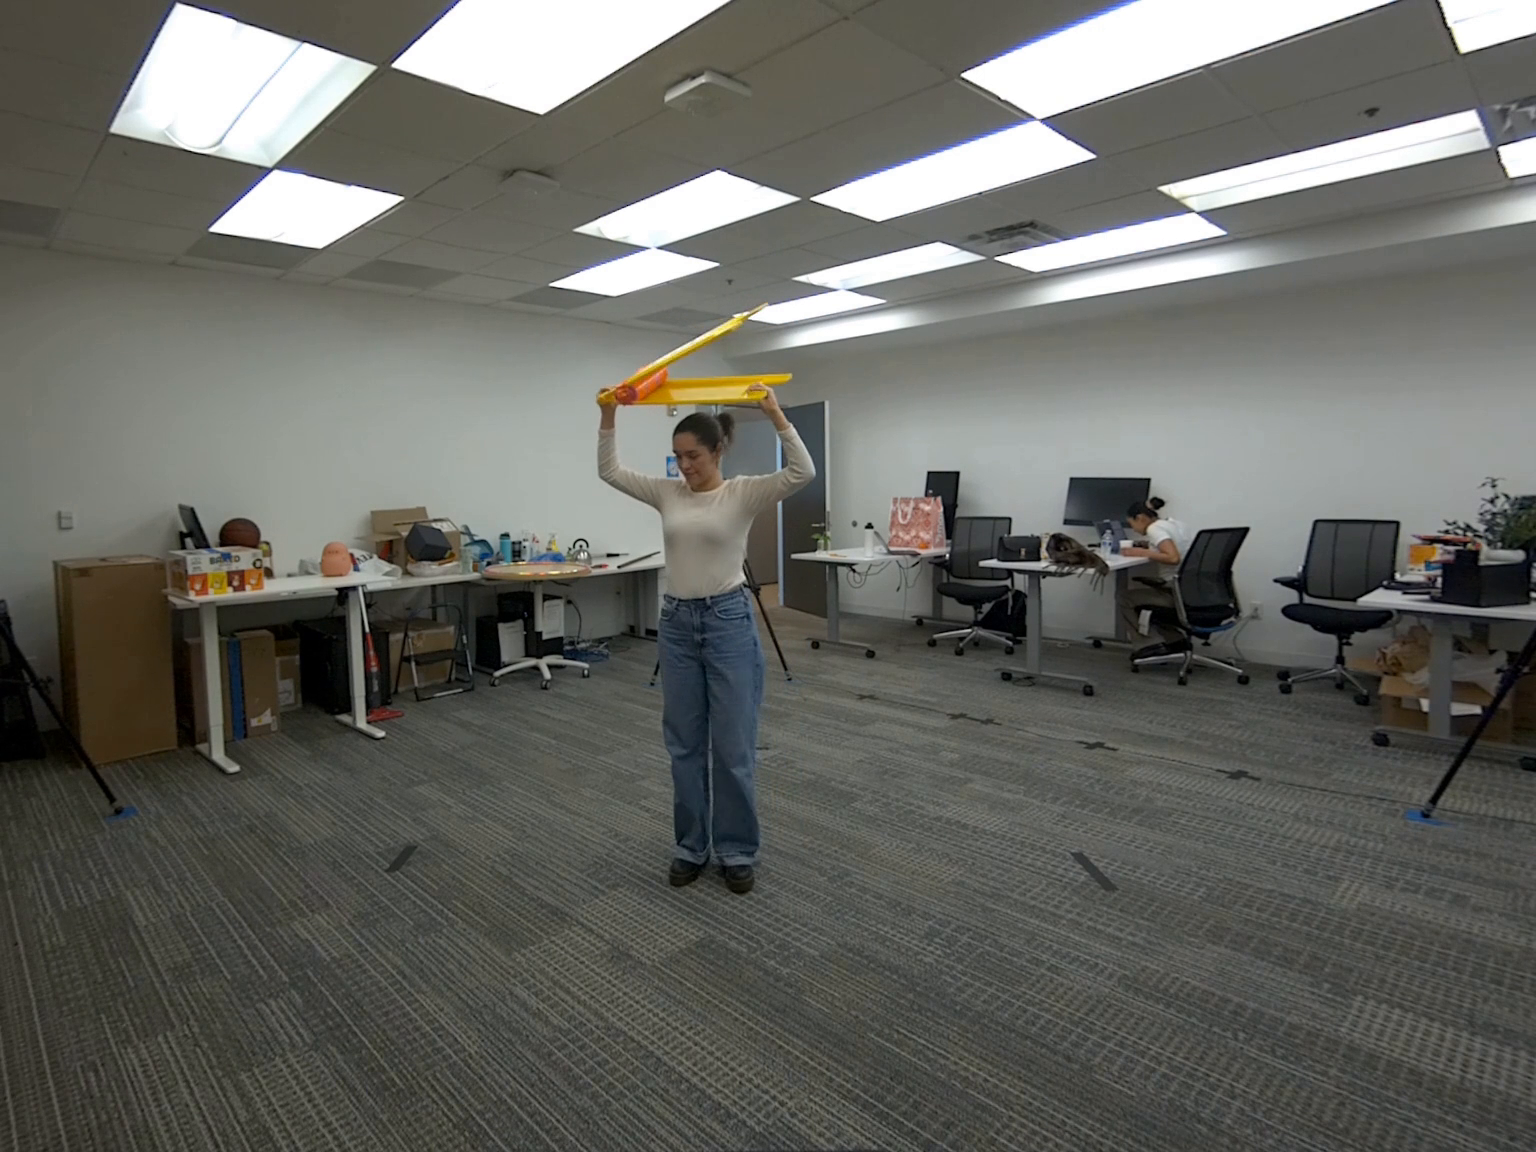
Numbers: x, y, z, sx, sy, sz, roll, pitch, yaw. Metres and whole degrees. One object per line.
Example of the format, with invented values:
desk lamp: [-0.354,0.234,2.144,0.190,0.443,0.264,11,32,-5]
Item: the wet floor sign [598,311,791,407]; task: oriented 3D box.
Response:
wet floor sign: [-0.285,-0.688,2.898,0.661,0.283,0.282,-6,25,31]
